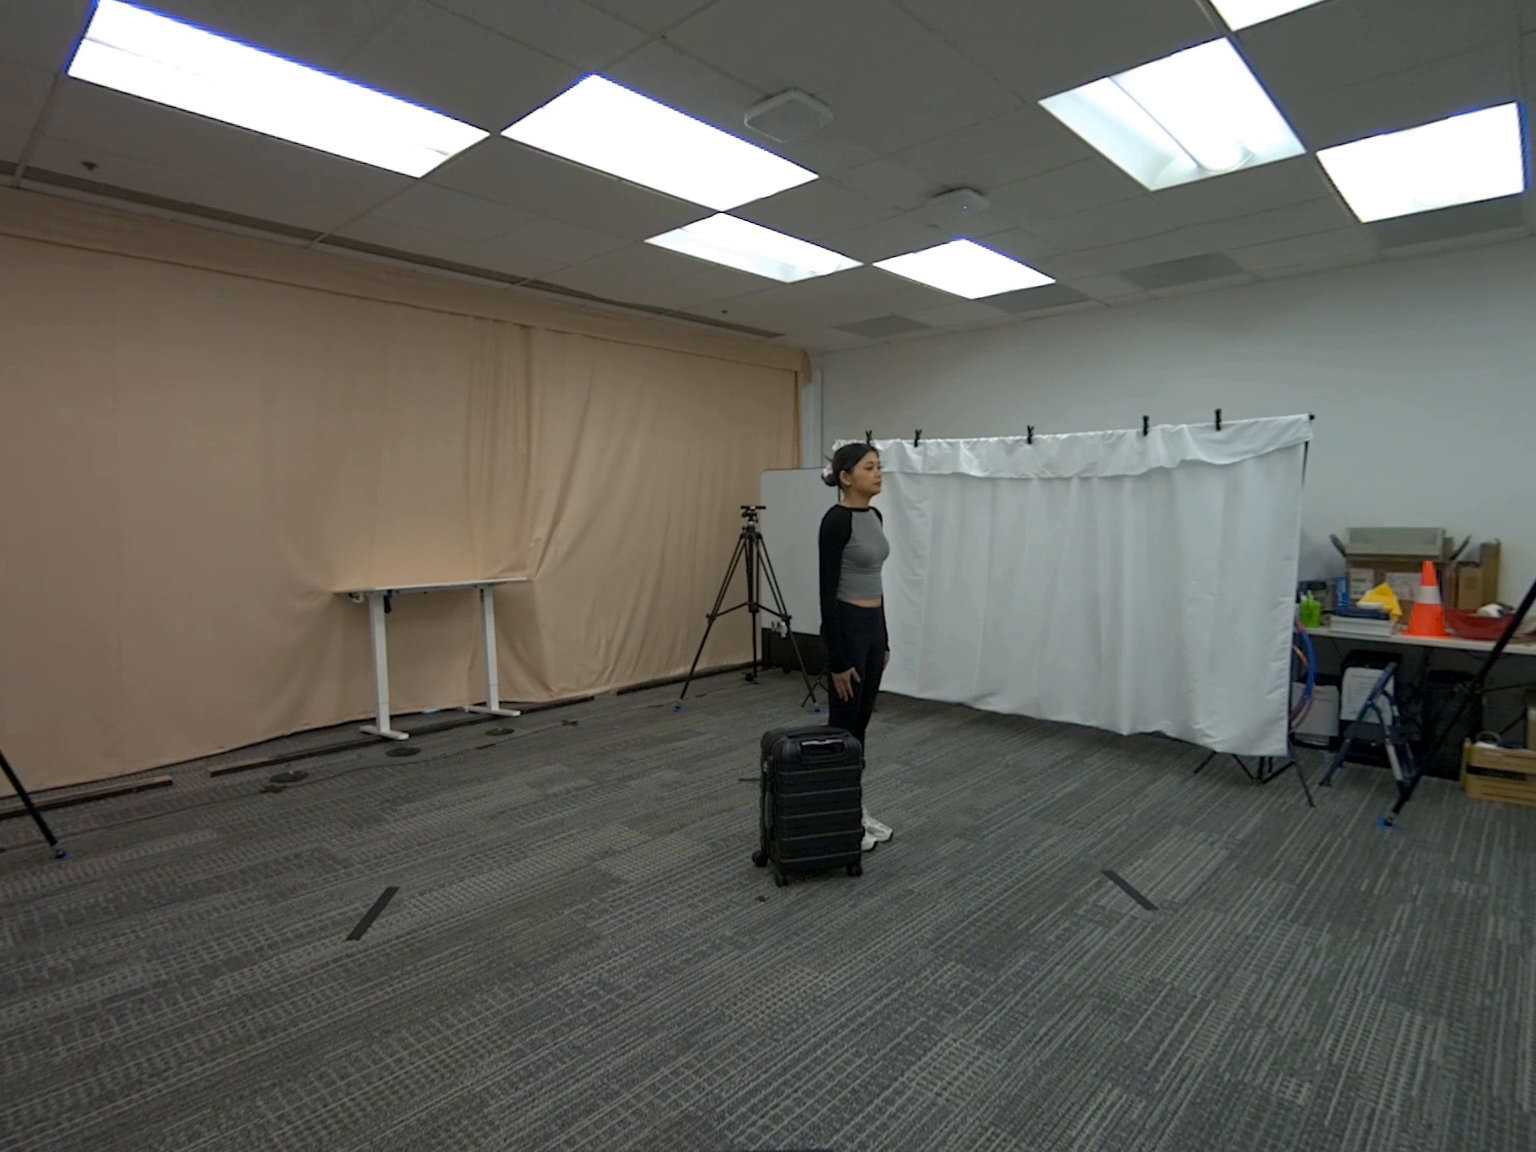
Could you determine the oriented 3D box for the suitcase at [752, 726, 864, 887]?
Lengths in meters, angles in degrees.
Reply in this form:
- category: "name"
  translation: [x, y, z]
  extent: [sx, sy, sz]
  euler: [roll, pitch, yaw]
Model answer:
- category: "suitcase"
  translation: [0.159, 0.846, 3.196]
  extent: [0.368, 0.548, 0.253]
  euler: [-1, 3, -19]
